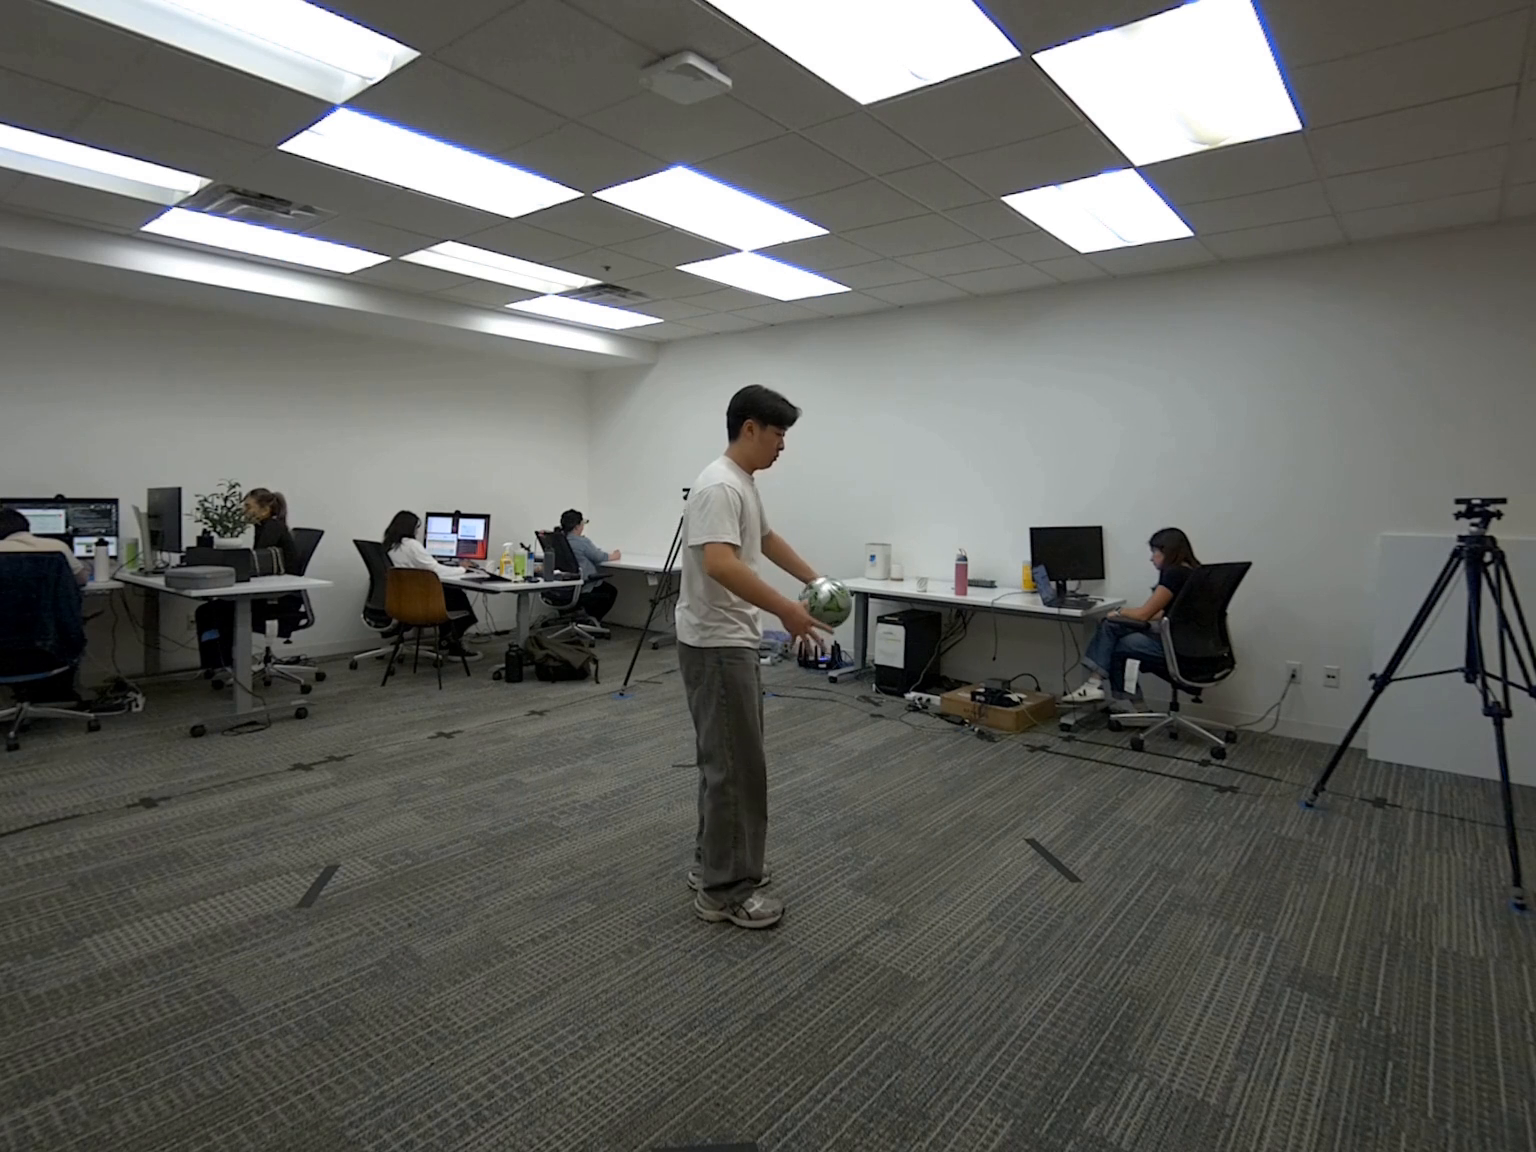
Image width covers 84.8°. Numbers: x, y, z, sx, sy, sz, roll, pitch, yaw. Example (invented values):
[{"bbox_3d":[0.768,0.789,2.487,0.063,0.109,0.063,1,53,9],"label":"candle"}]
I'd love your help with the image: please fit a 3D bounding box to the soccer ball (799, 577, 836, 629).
[{"bbox_3d":[0.113,0.102,3.121,0.187,0.187,0.188,1,4,-2],"label":"soccer ball"}]
